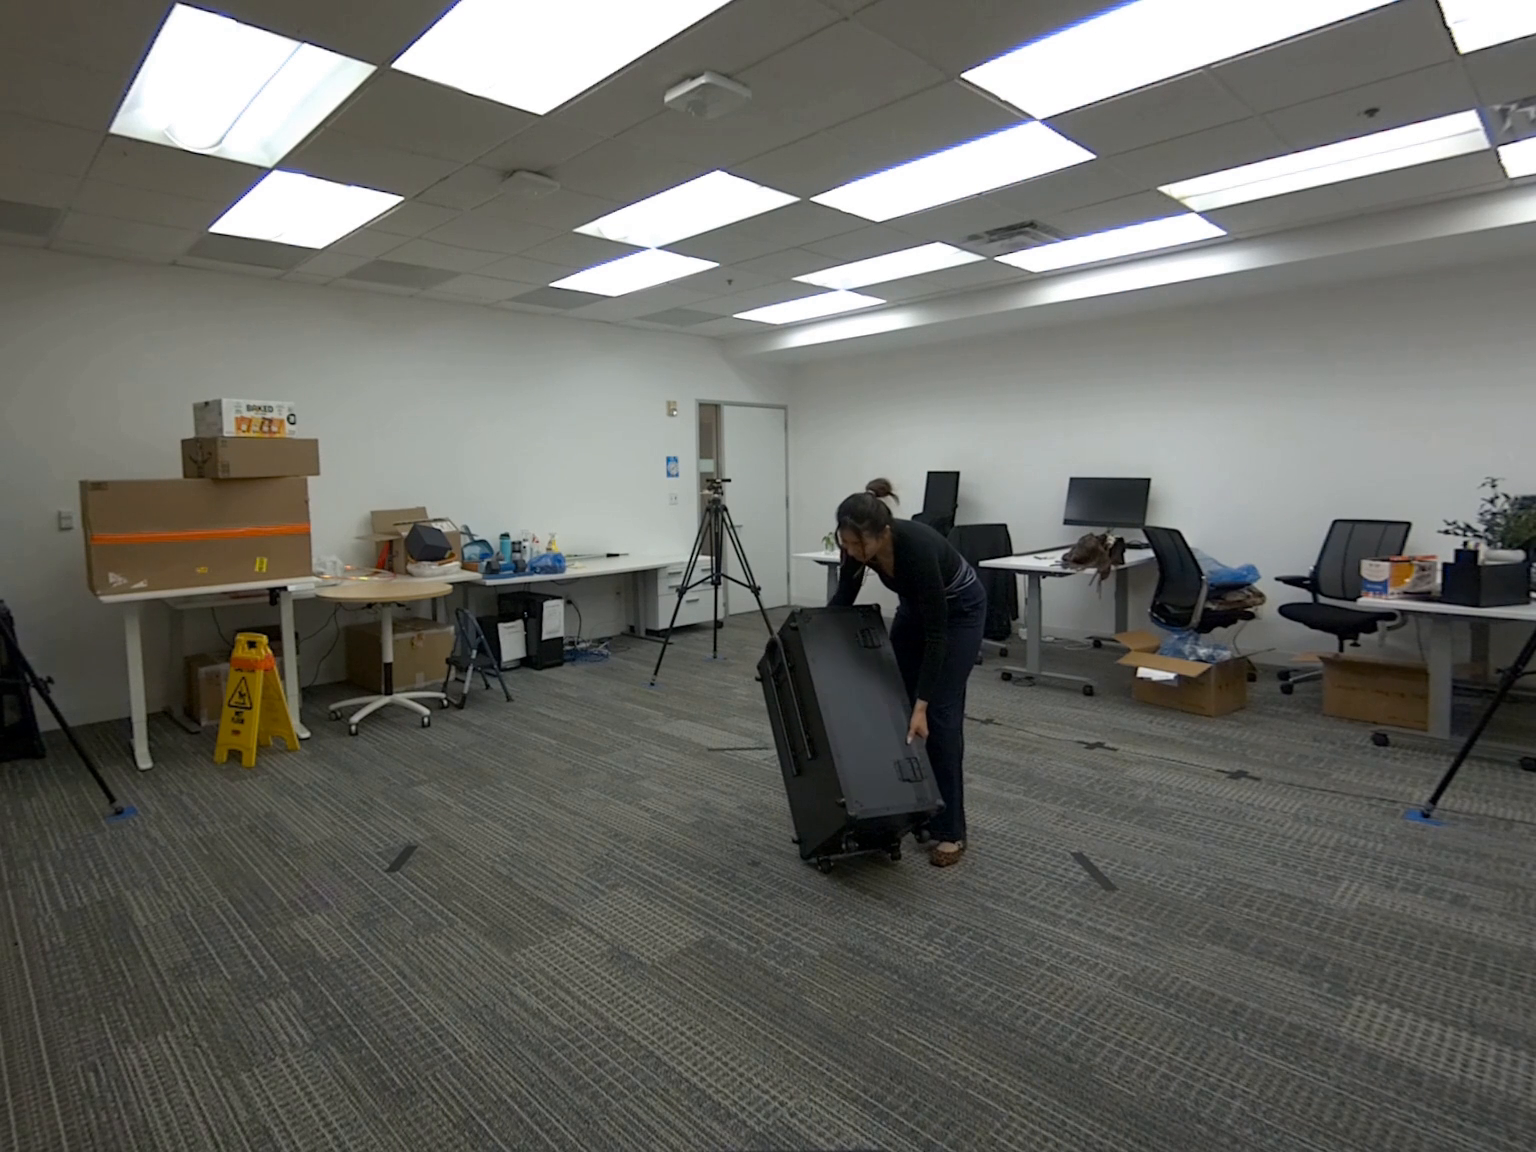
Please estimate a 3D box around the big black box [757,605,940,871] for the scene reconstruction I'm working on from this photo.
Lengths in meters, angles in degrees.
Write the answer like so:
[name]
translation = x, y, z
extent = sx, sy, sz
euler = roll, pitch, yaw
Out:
[big black box]
translation = 0.269, 0.602, 3.150
extent = 0.389, 0.887, 0.515
euler = -2, -33, -20
